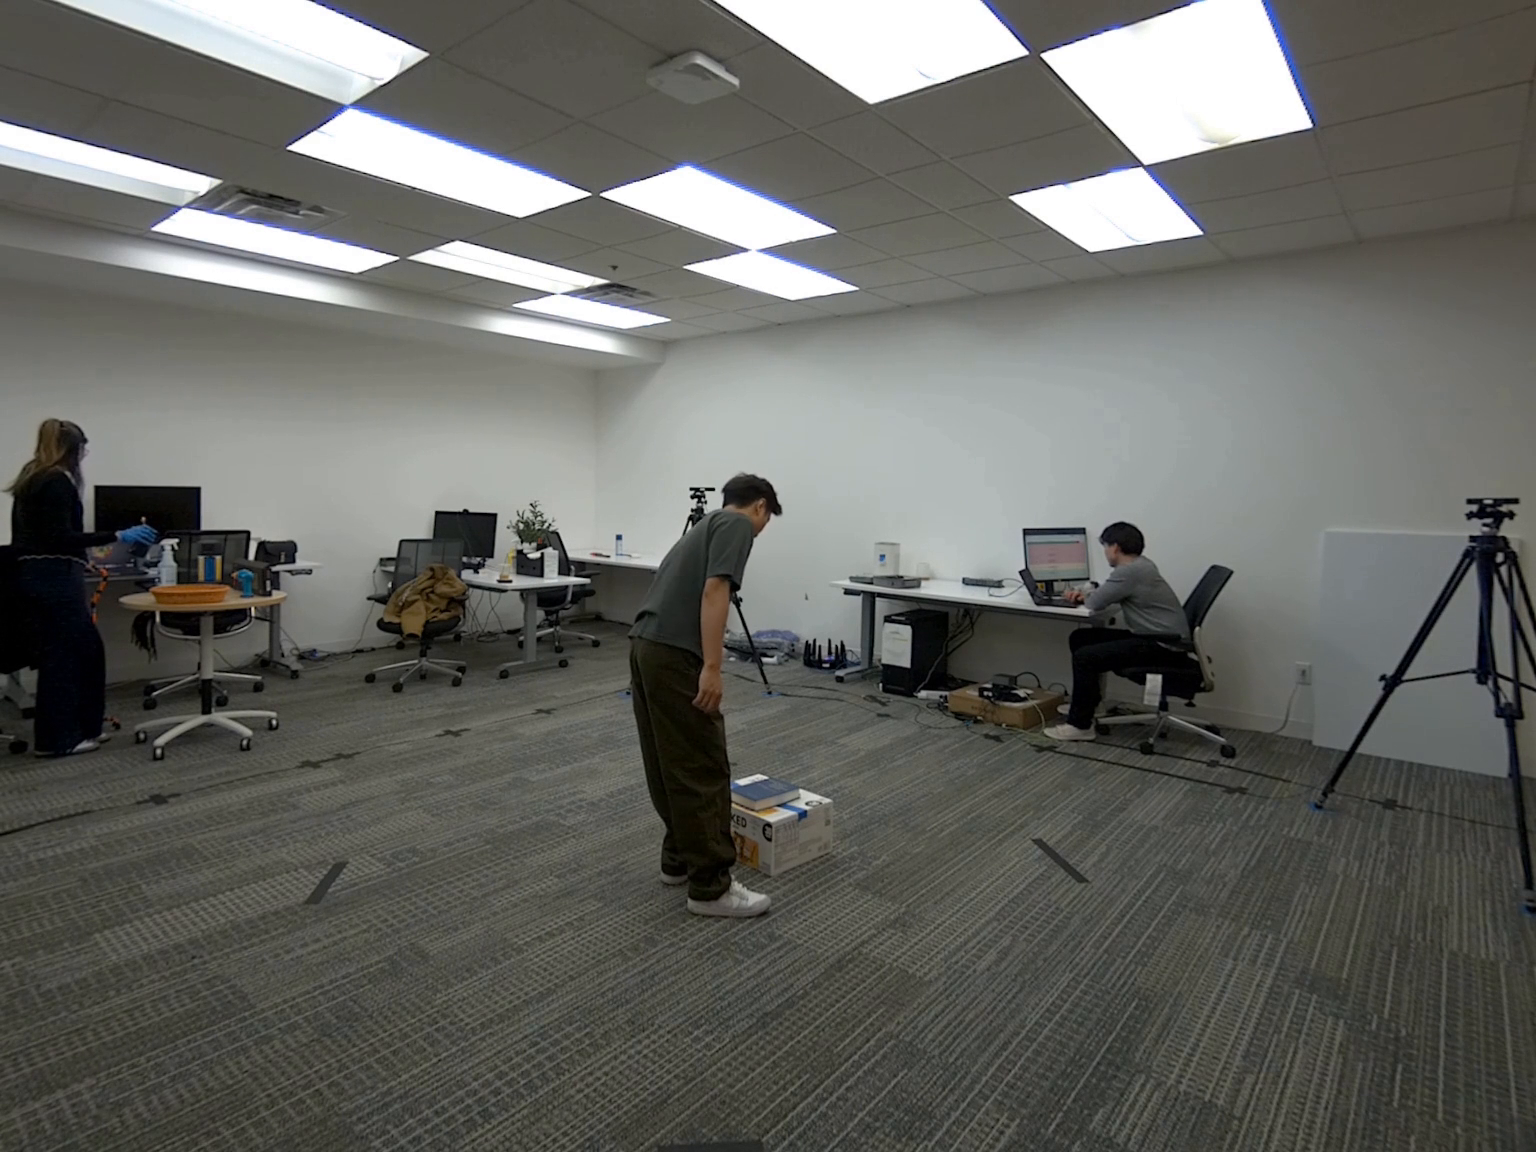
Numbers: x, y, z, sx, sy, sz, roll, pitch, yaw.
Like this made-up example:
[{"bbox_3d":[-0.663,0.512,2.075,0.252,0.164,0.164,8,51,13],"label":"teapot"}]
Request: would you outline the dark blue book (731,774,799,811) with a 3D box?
[{"bbox_3d":[-0.018,0.838,3.284,0.238,0.045,0.169,-3,7,-43],"label":"dark blue book"}]
